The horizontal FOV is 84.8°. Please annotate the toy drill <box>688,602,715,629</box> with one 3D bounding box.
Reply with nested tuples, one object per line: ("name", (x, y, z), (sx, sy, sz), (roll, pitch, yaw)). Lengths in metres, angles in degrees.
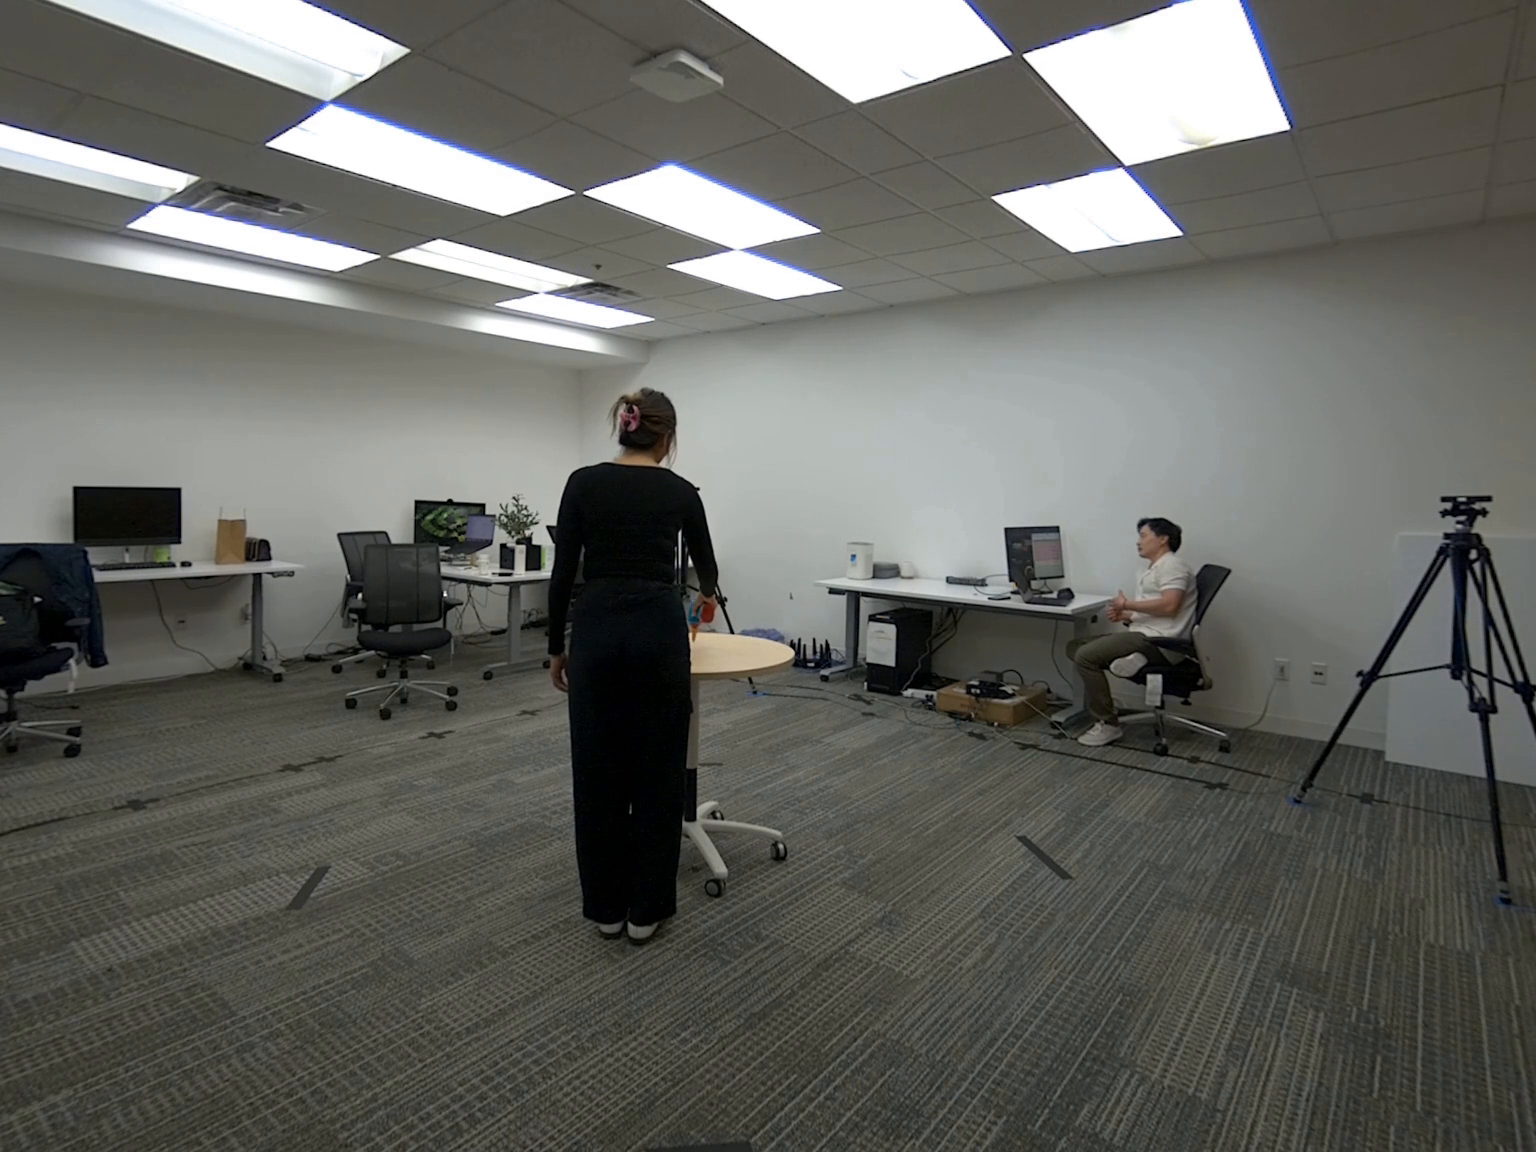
("toy drill", (-0.264, 0.166, 3.195), (0.060, 0.169, 0.149), (6, 3, -20))
